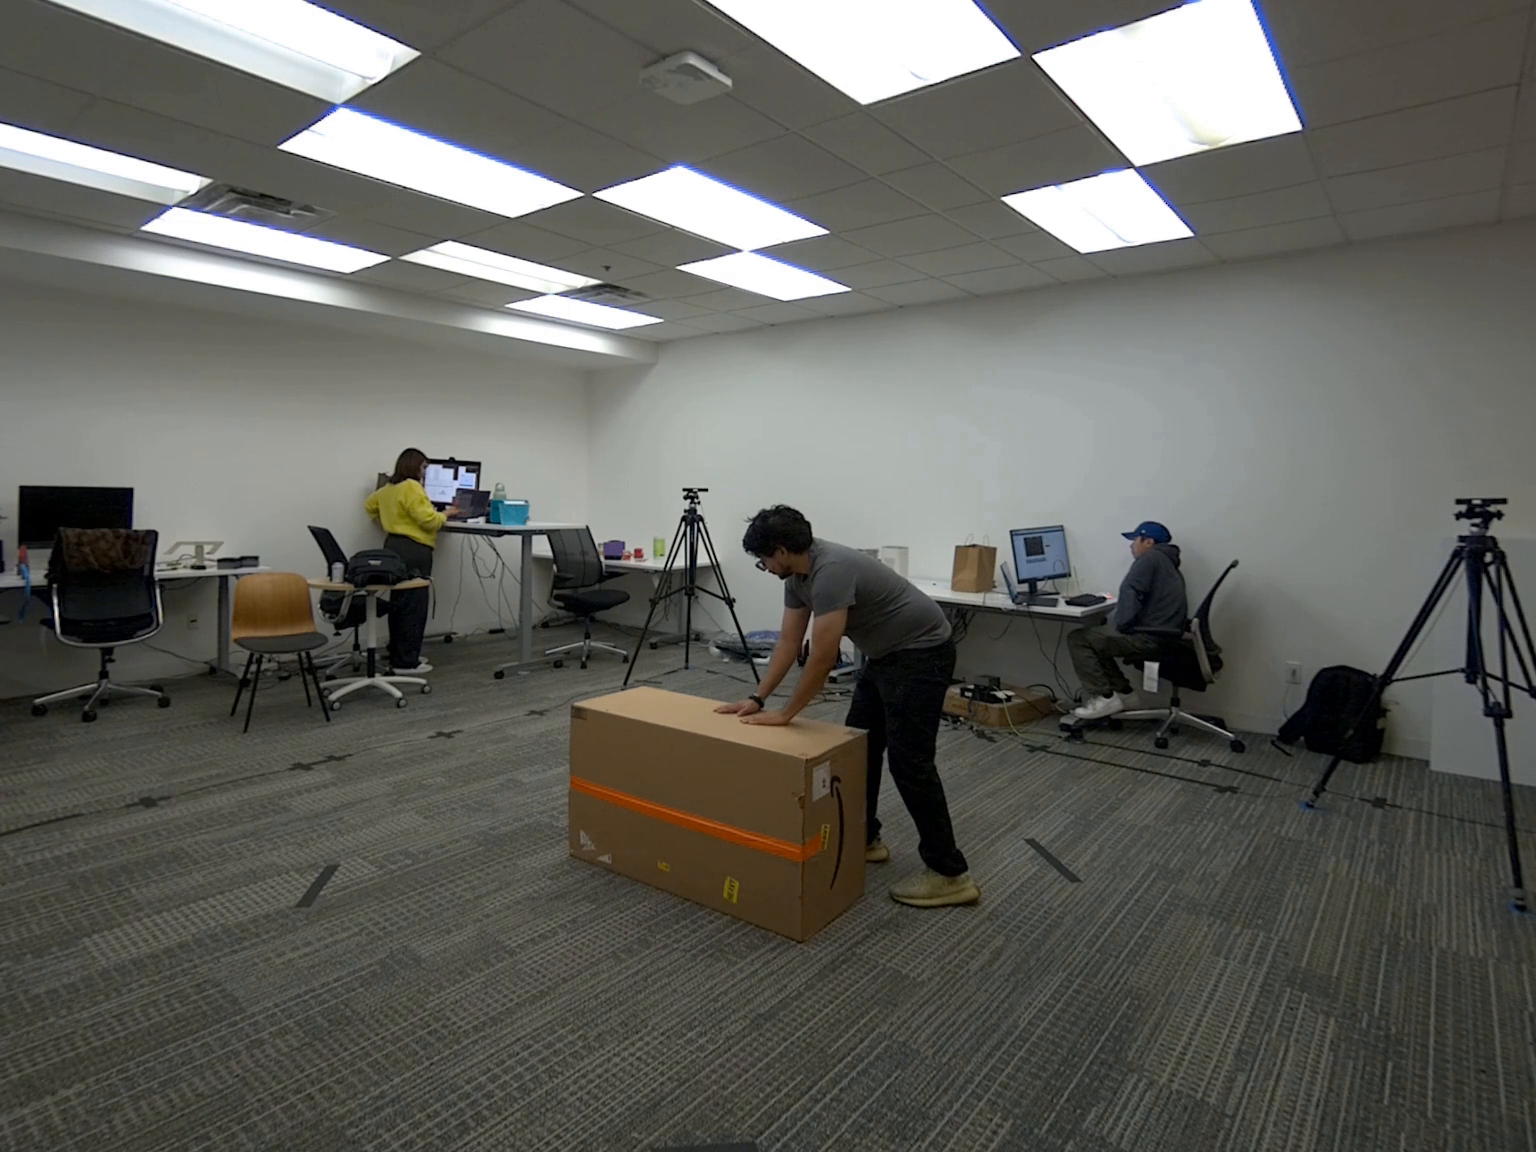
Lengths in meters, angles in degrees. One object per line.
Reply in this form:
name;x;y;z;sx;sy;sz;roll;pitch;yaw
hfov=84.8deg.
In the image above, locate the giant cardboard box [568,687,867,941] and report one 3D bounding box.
giant cardboard box;-0.215;0.787;3.057;1.059;0.576;0.414;4;5;35
